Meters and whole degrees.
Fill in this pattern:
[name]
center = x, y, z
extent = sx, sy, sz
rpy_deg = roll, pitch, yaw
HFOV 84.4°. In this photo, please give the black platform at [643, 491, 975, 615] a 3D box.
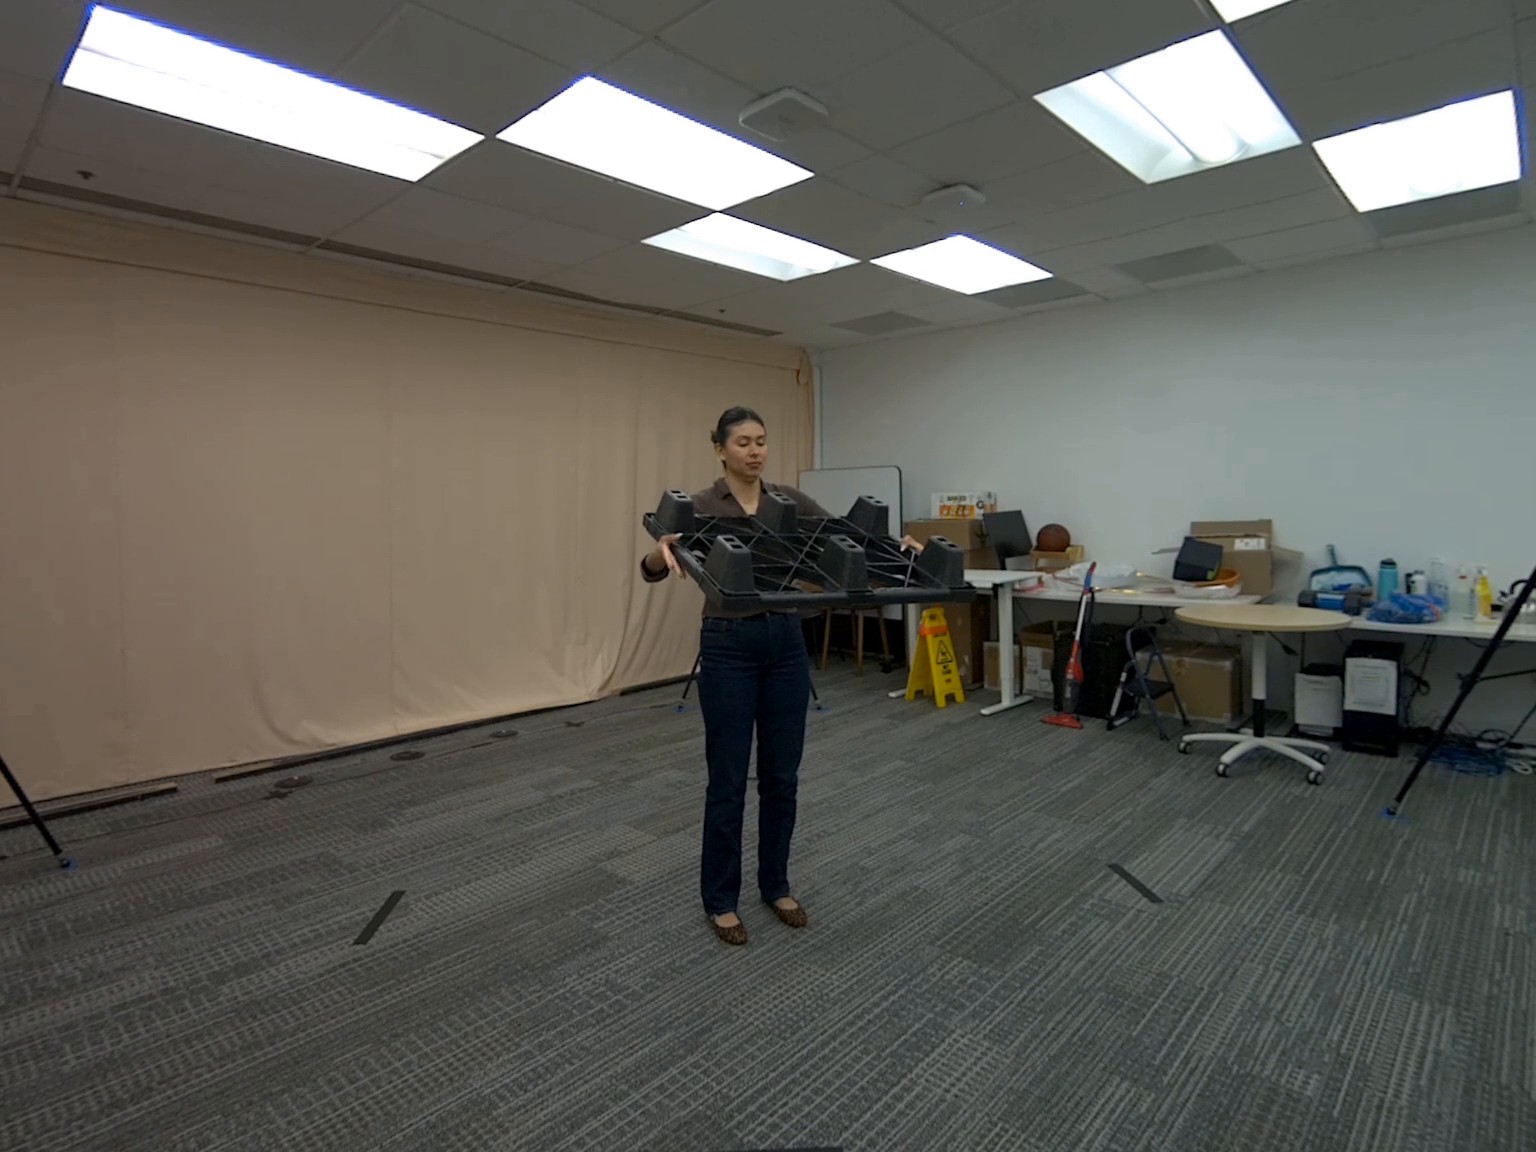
[black platform]
center = 0.121, -0.098, 2.410
extent = 0.785, 0.142, 0.626
rpy_deg = -1, 24, -27
